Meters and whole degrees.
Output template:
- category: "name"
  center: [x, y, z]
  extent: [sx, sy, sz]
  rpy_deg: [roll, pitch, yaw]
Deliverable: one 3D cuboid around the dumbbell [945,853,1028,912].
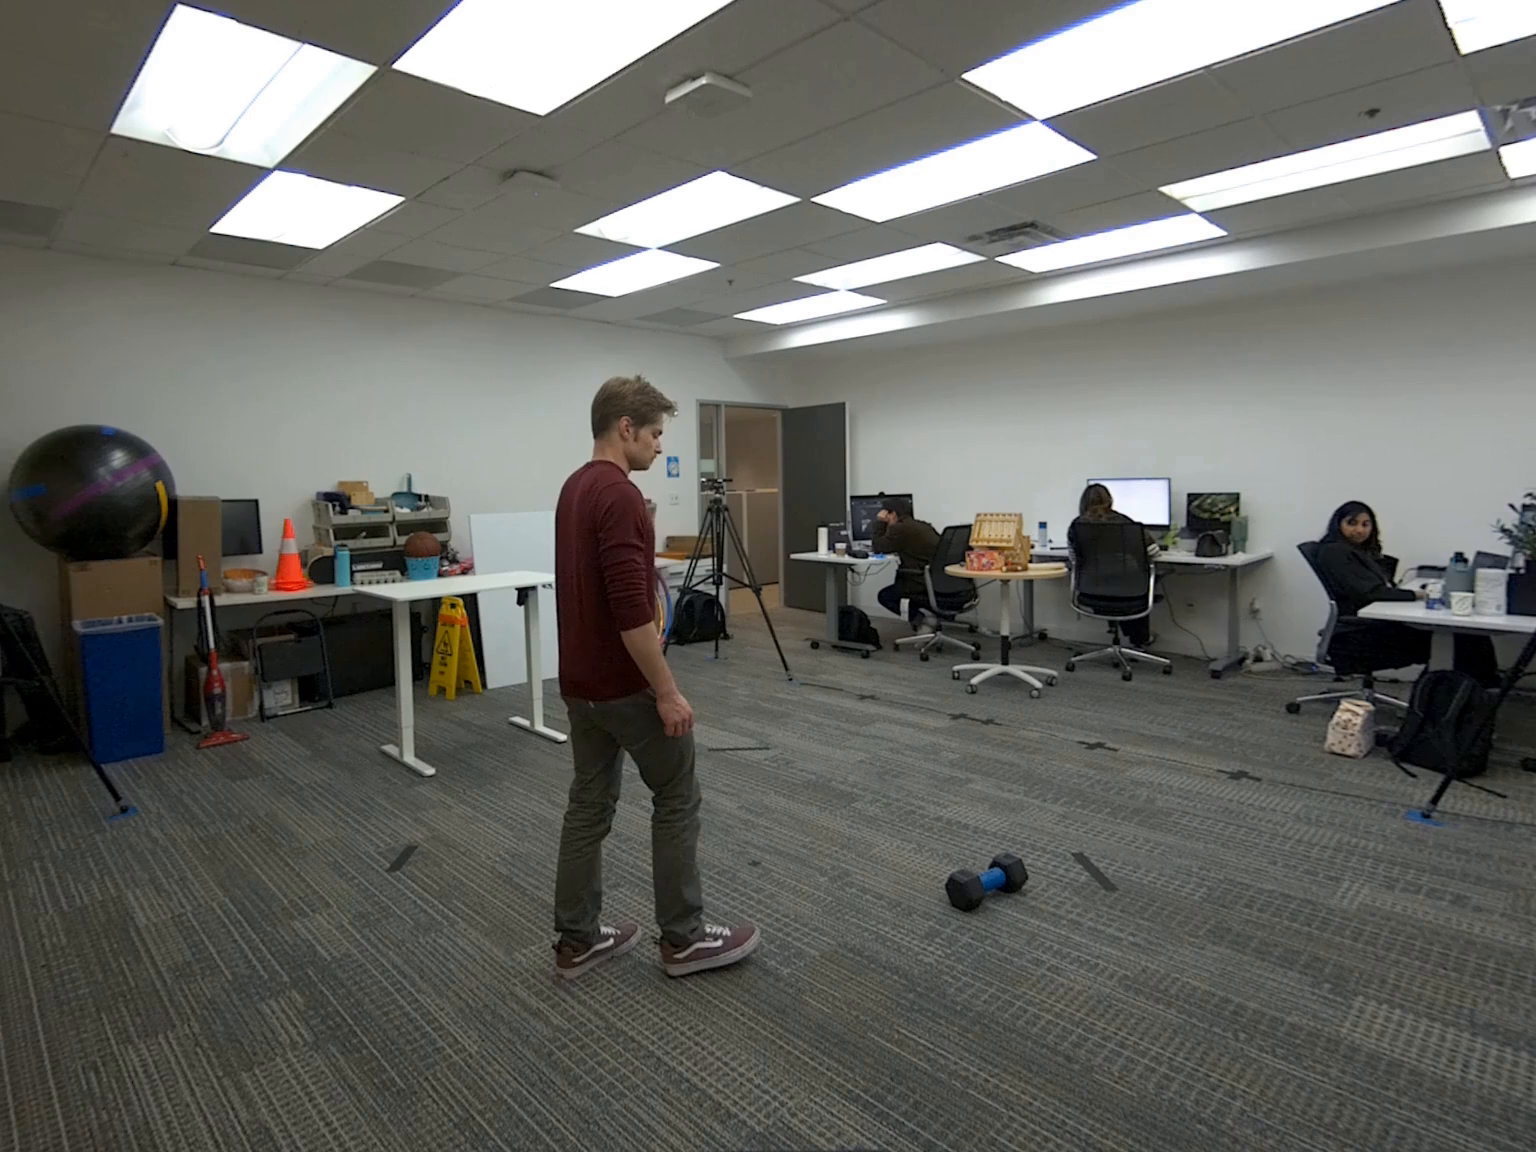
- category: "dumbbell"
  center: [0.732, 1.013, 2.822]
  extent: [0.286, 0.121, 0.113]
  rpy_deg: [-5, 37, -34]
